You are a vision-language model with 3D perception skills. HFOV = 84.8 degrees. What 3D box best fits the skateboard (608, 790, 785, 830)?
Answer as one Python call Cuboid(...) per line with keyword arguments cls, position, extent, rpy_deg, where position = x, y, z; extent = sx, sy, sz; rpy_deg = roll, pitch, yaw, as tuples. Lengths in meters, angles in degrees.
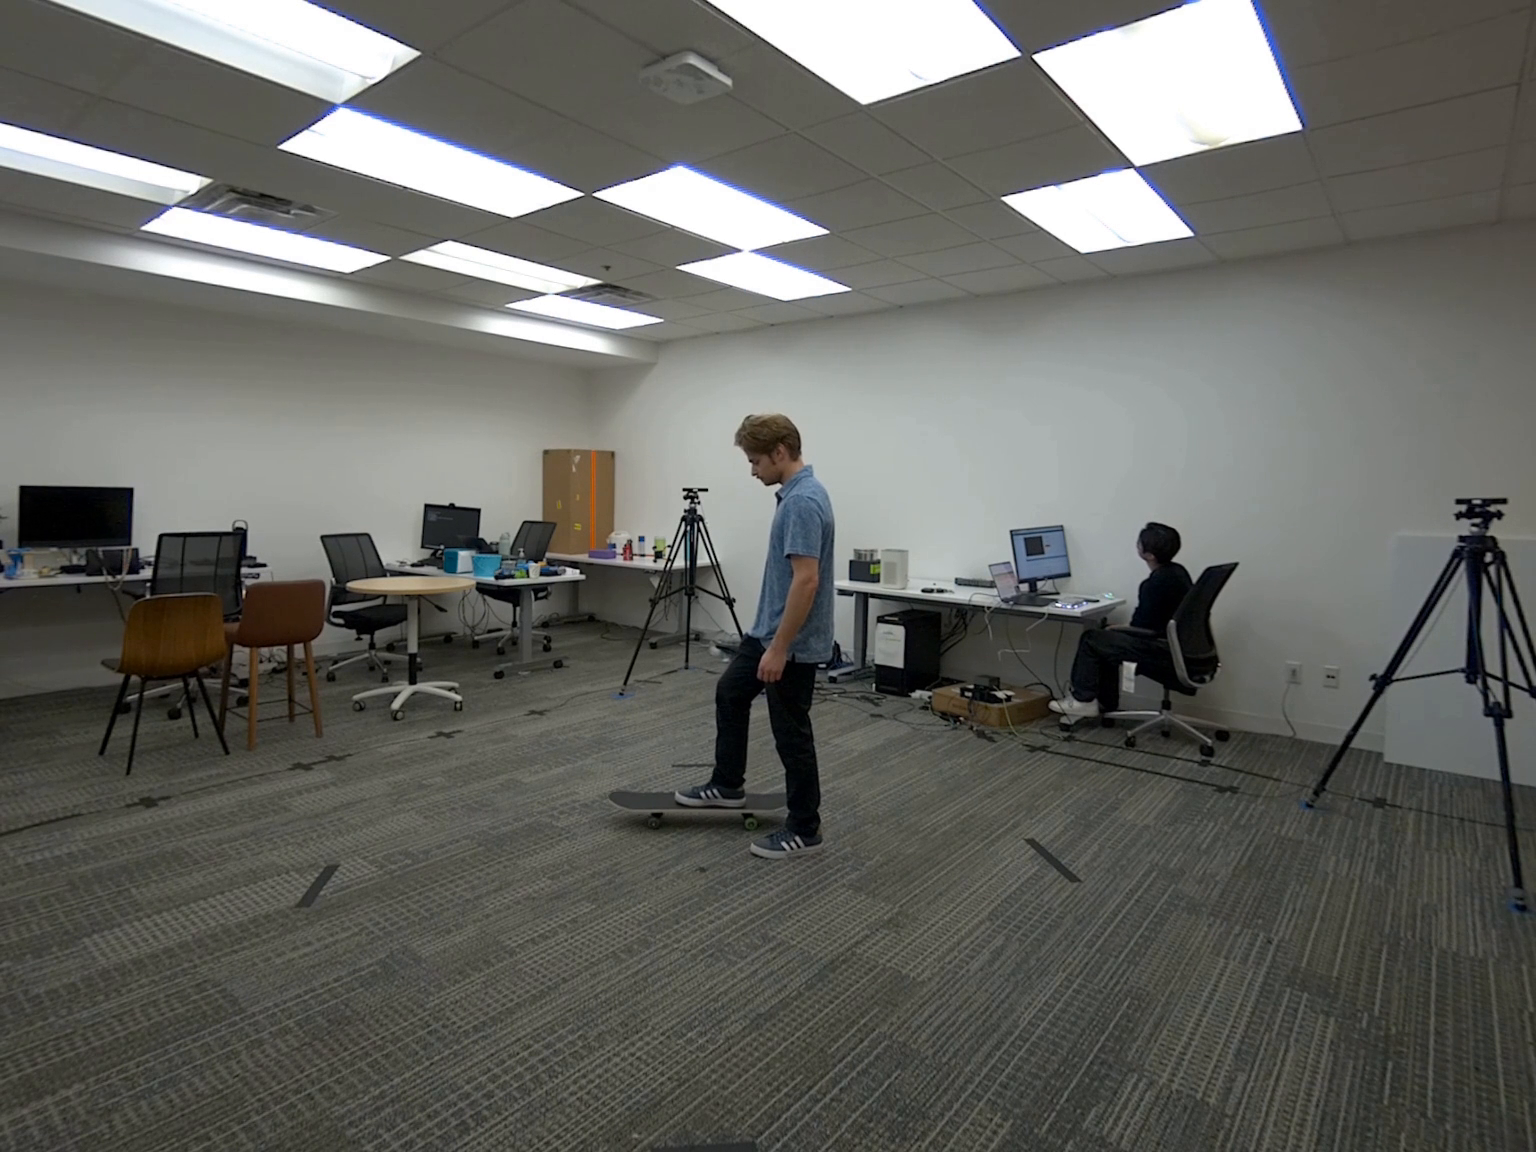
Cuboid(cls="skateboard", position=(-0.287, 0.964, 3.547), extent=(0.784, 0.110, 0.195), rpy_deg=(1, 6, -2))
